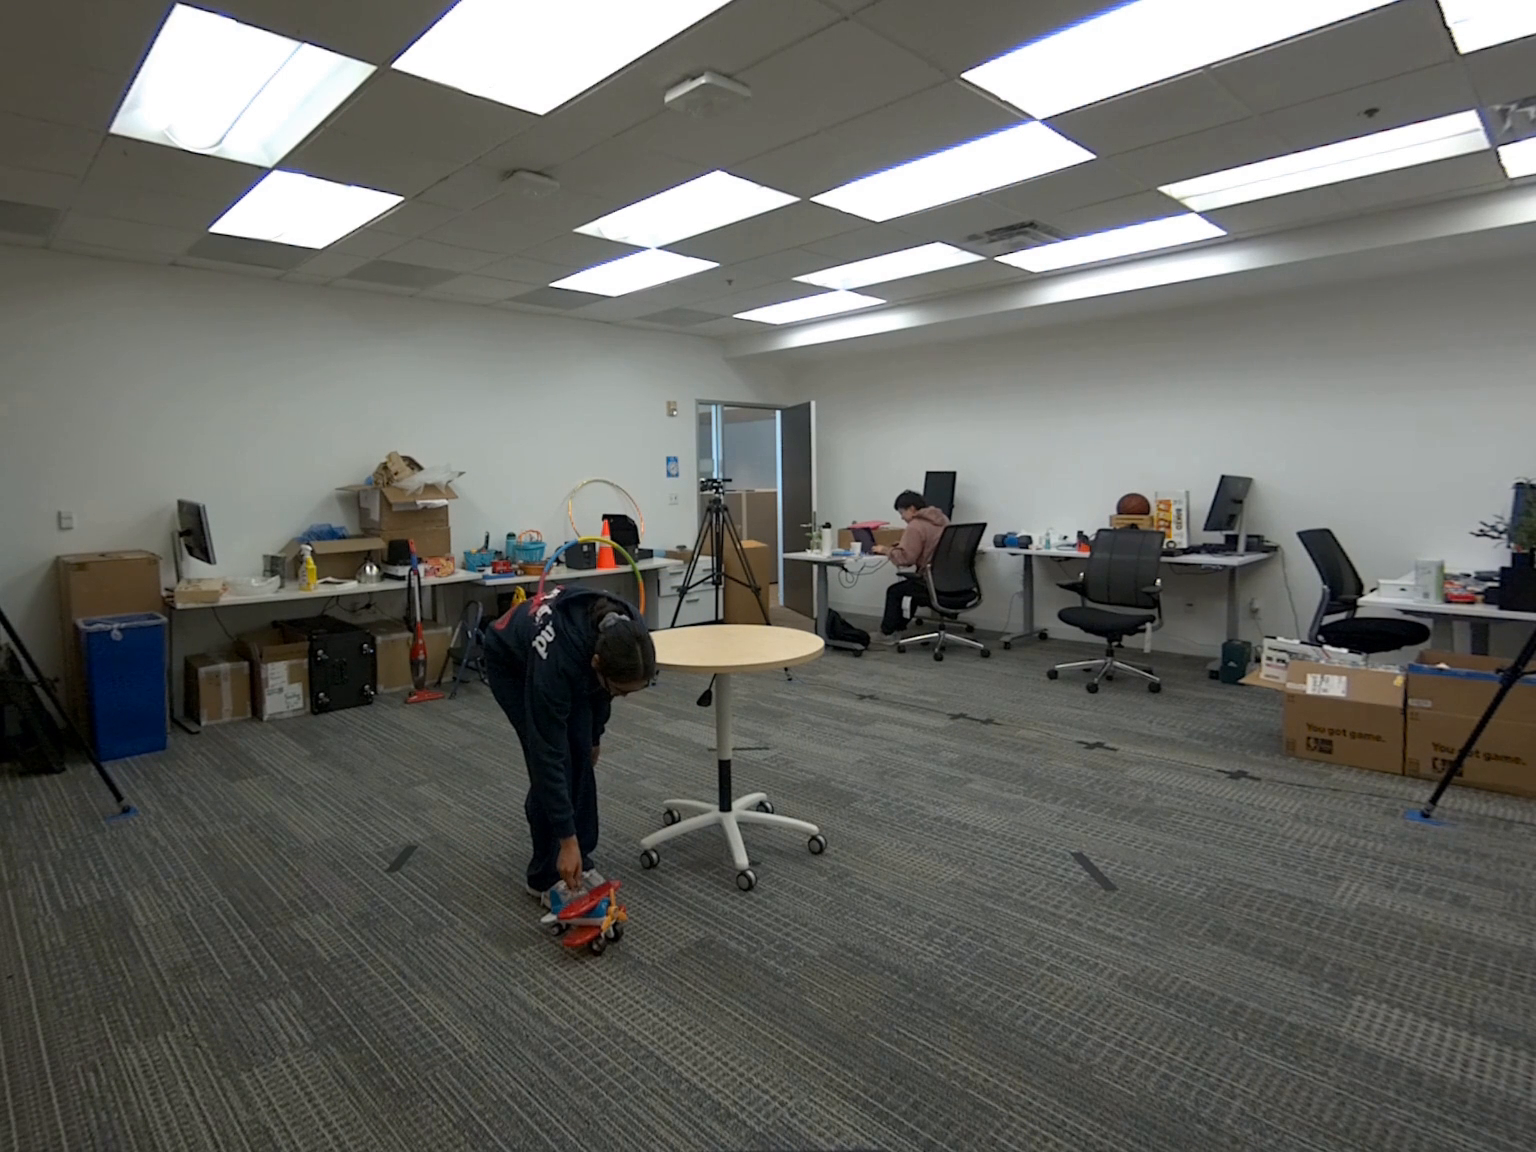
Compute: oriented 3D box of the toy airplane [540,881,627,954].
[{"bbox_3d":[-0.564,1.040,2.589,0.260,0.156,0.252,0,6,1],"label":"toy airplane"}]
